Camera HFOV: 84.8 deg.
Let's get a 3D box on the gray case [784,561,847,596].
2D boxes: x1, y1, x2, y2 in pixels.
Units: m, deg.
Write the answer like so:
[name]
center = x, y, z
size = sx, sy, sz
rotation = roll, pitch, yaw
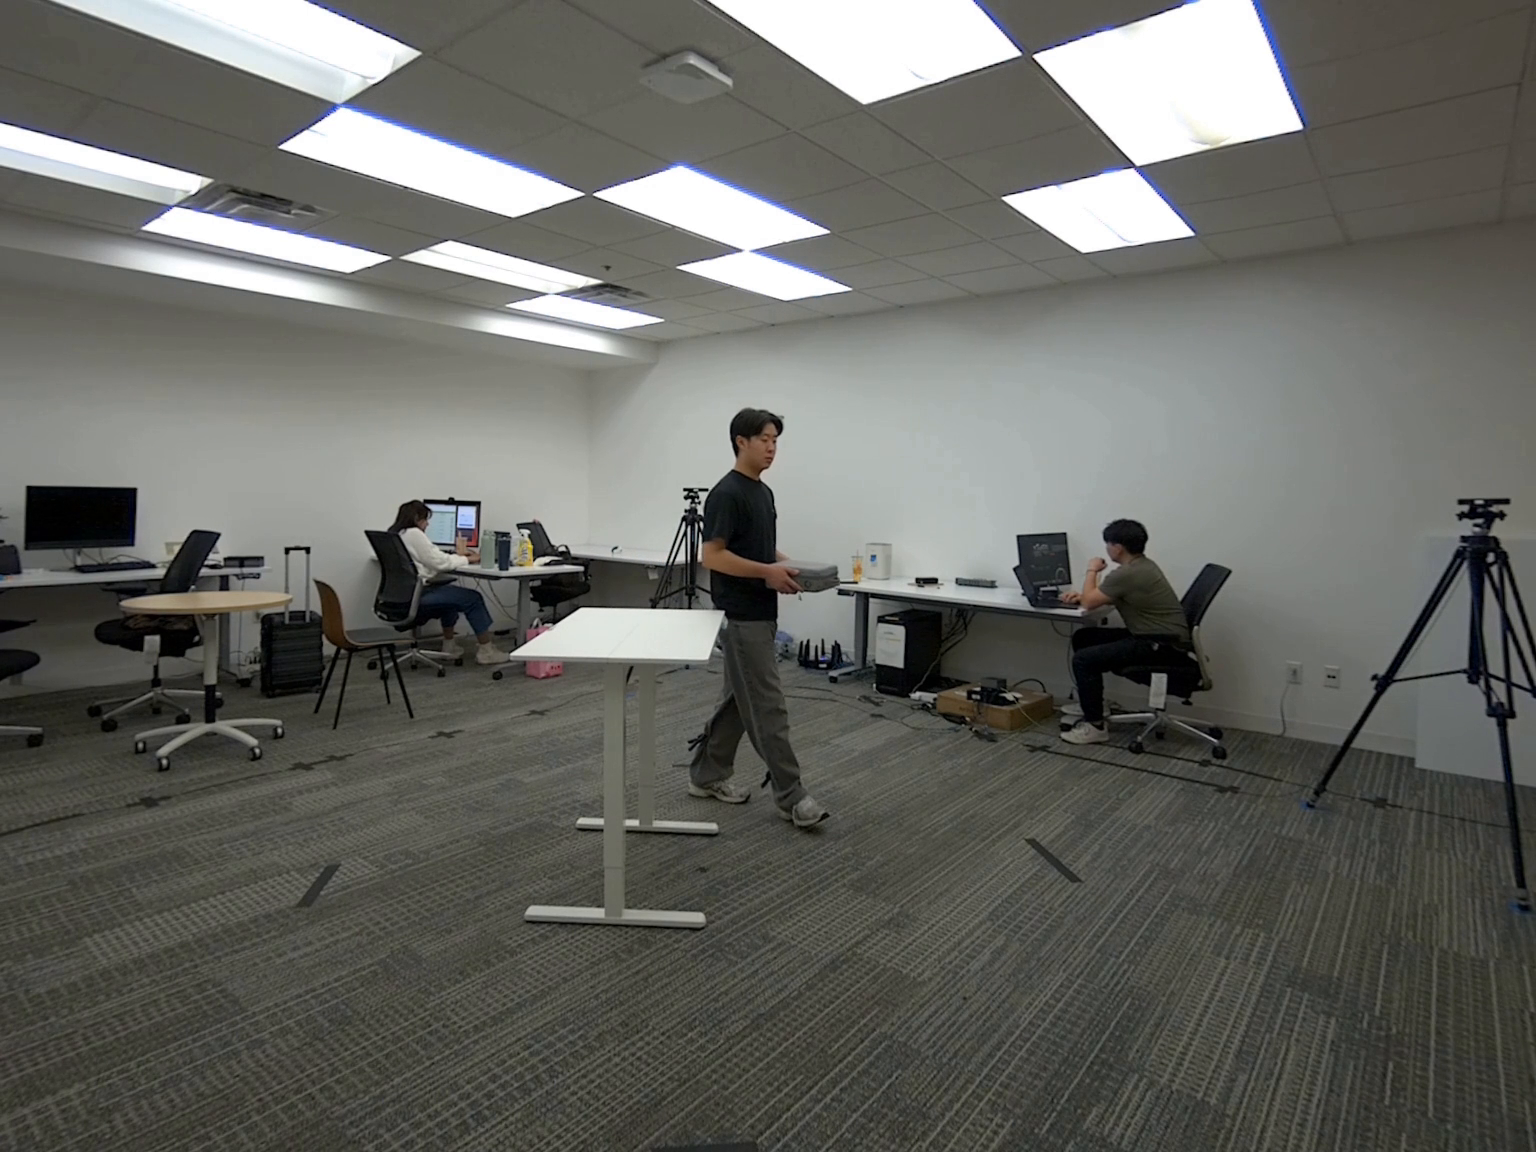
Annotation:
[gray case]
center = 0.185, 0.004, 3.588
size = 0.267, 0.103, 0.284
rotation = 4, 5, 11
